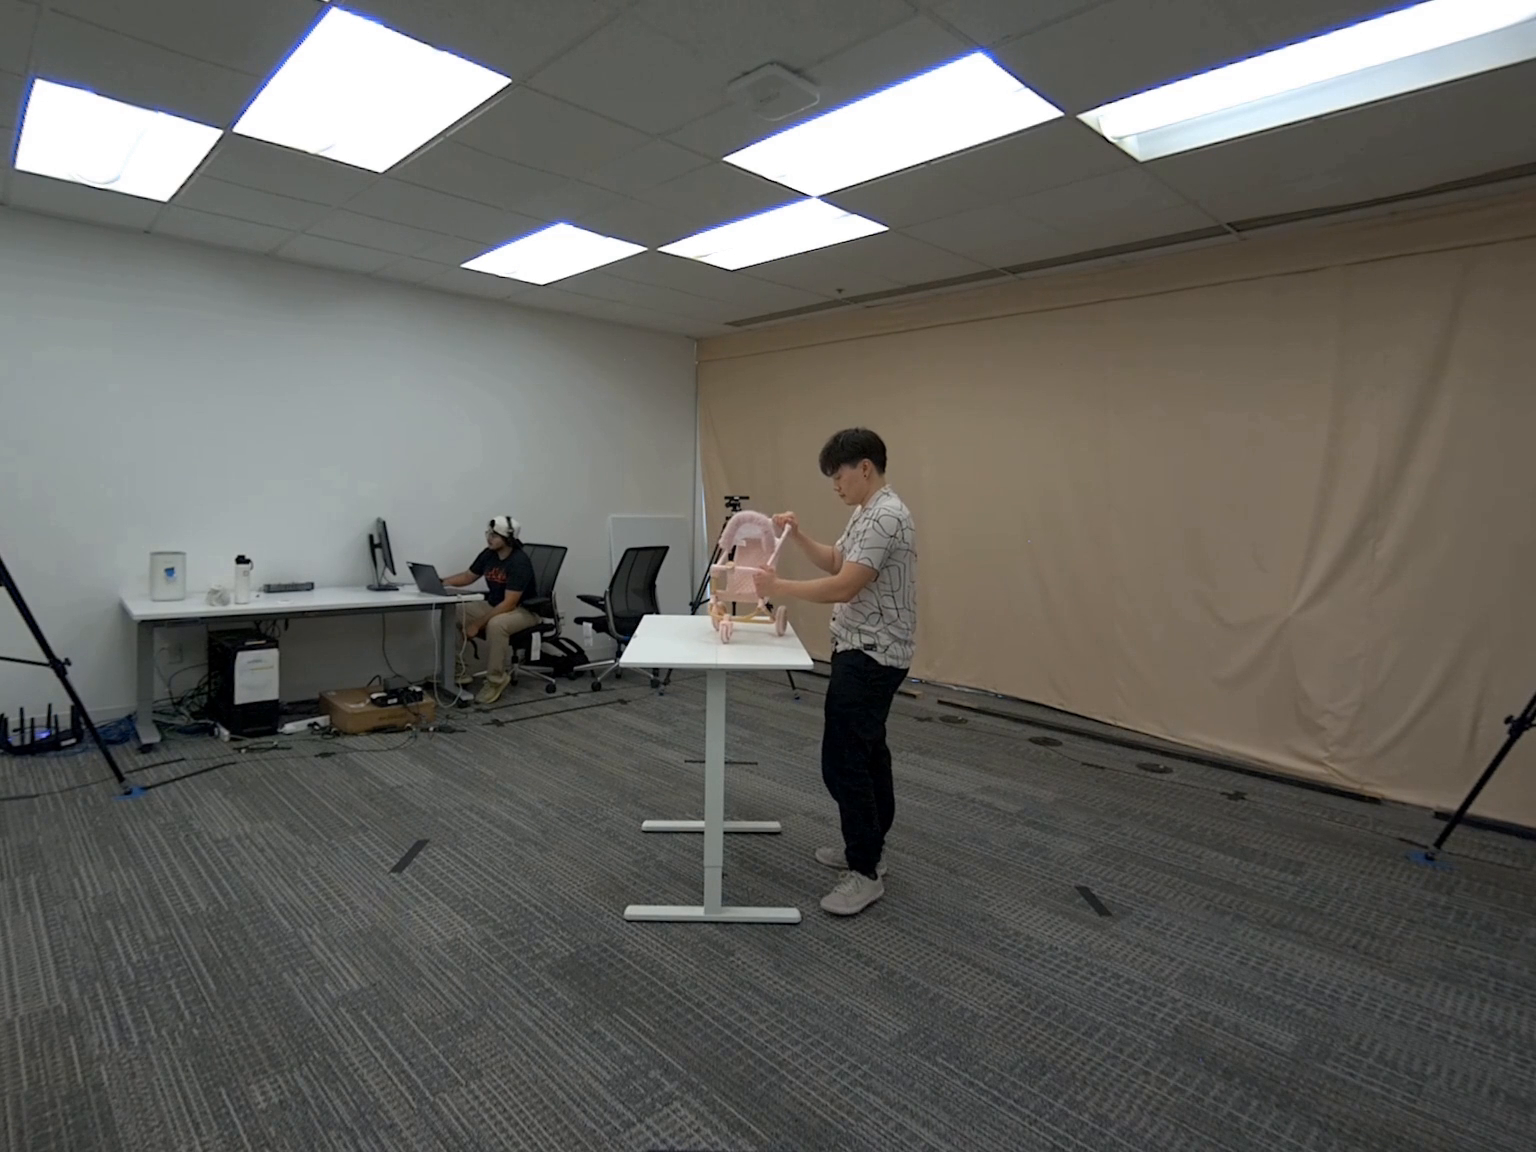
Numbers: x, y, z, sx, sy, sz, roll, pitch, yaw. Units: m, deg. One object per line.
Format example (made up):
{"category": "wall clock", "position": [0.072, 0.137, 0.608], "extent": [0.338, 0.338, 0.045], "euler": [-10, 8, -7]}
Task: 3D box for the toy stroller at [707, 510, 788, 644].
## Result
{"category": "toy stroller", "position": [-0.085, -0.001, 3.108], "extent": [0.287, 0.538, 0.332], "euler": [3, -11, 25]}
